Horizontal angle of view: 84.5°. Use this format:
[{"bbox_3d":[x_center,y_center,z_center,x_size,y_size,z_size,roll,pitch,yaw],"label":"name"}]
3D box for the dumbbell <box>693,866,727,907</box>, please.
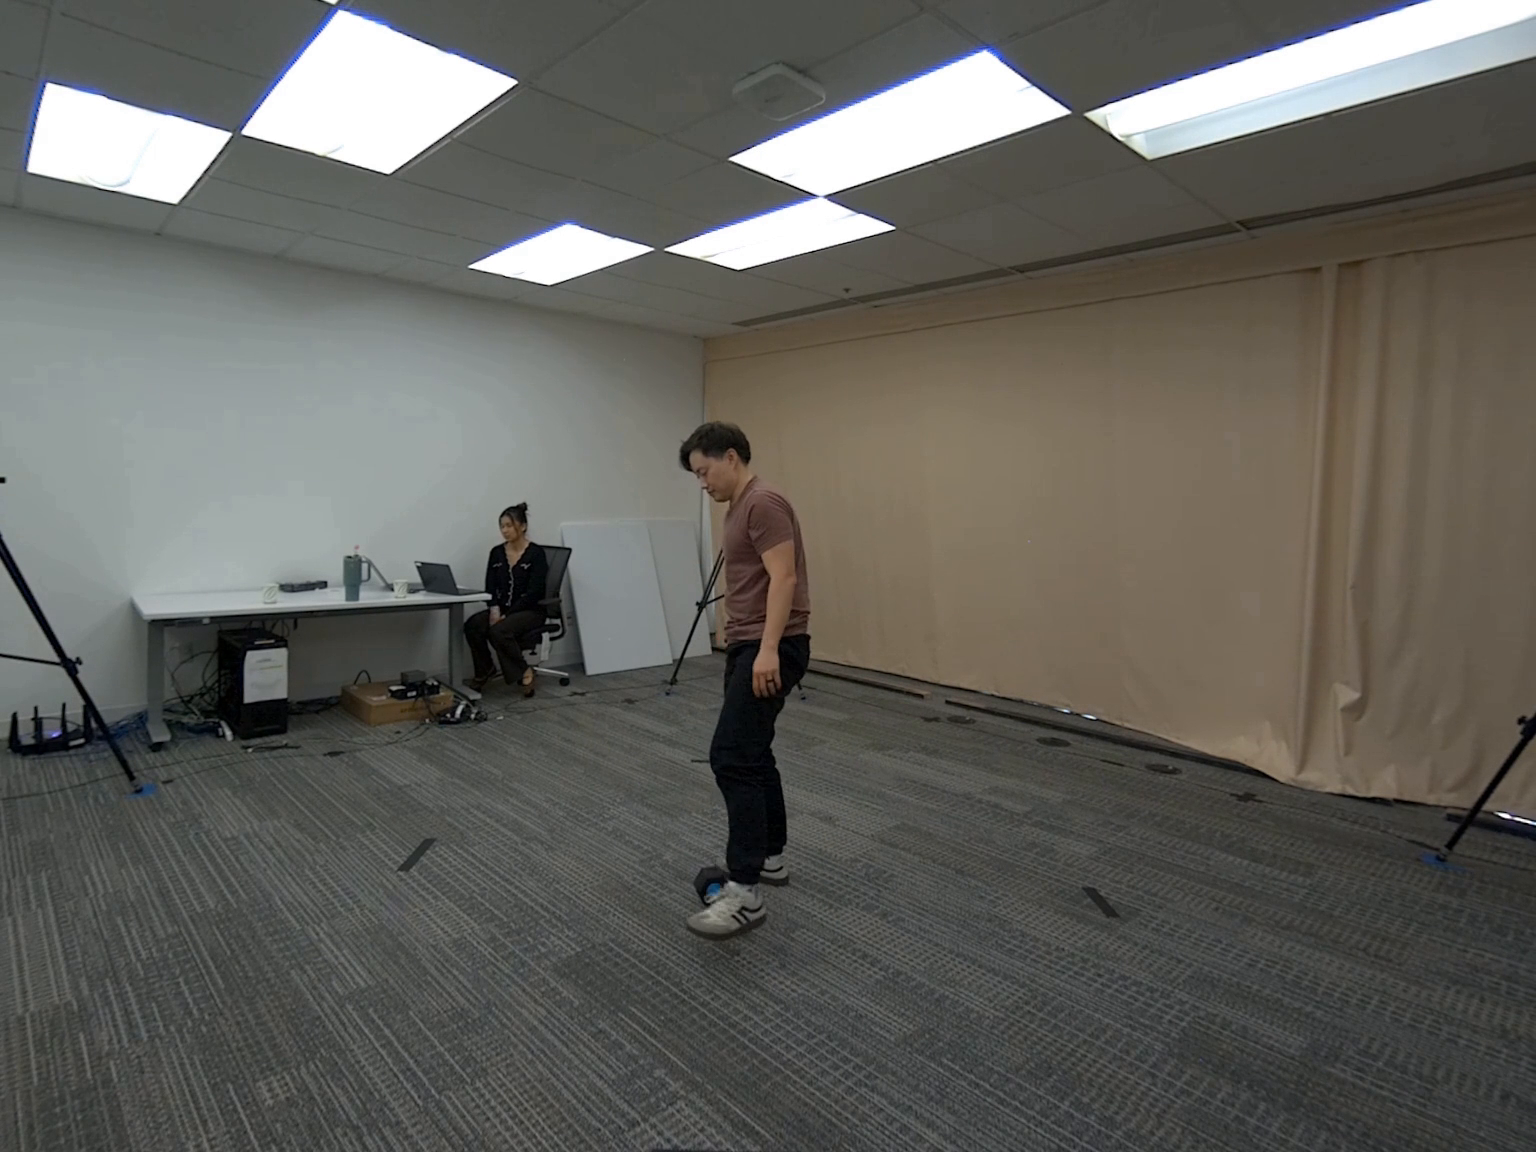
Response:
[{"bbox_3d":[-0.171,1.081,2.794,0.122,0.108,0.297,-1,6,-13],"label":"dumbbell"}]
